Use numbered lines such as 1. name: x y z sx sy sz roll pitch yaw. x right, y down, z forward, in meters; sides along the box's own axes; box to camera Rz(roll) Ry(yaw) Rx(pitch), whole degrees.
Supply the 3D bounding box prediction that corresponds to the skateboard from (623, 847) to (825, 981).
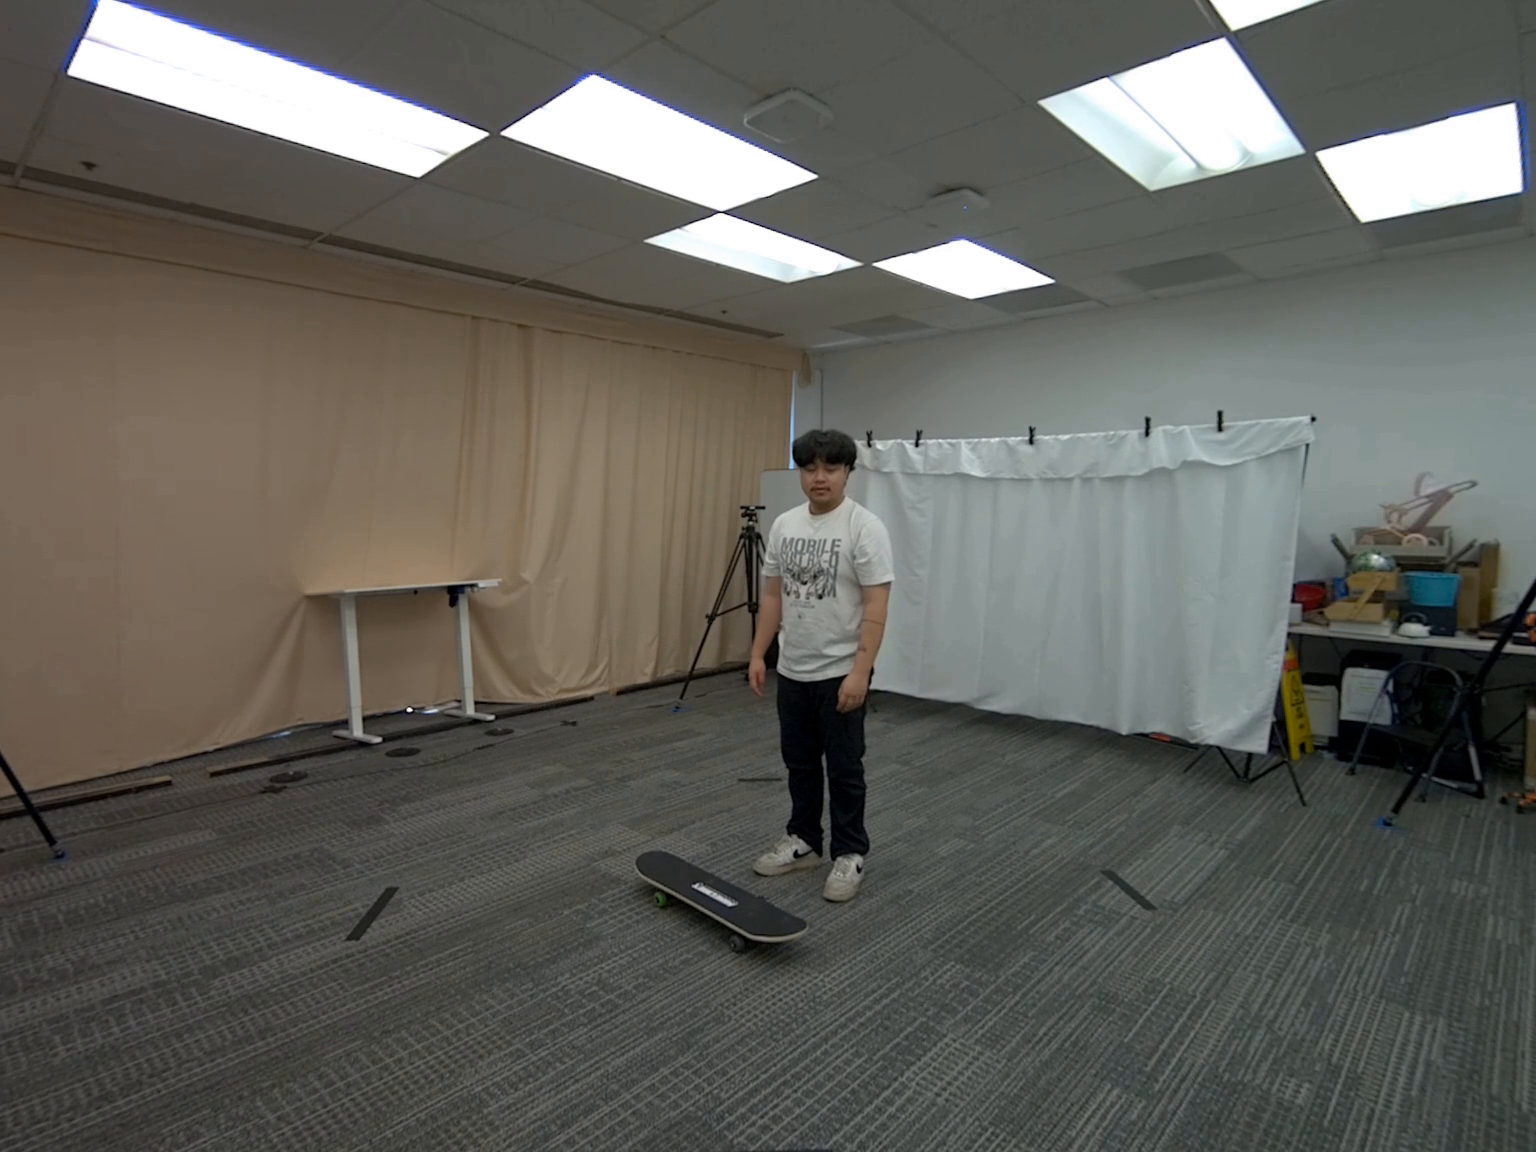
1. skateboard: -0.176 1.099 2.827 0.187 0.110 0.812 -4 6 -44
